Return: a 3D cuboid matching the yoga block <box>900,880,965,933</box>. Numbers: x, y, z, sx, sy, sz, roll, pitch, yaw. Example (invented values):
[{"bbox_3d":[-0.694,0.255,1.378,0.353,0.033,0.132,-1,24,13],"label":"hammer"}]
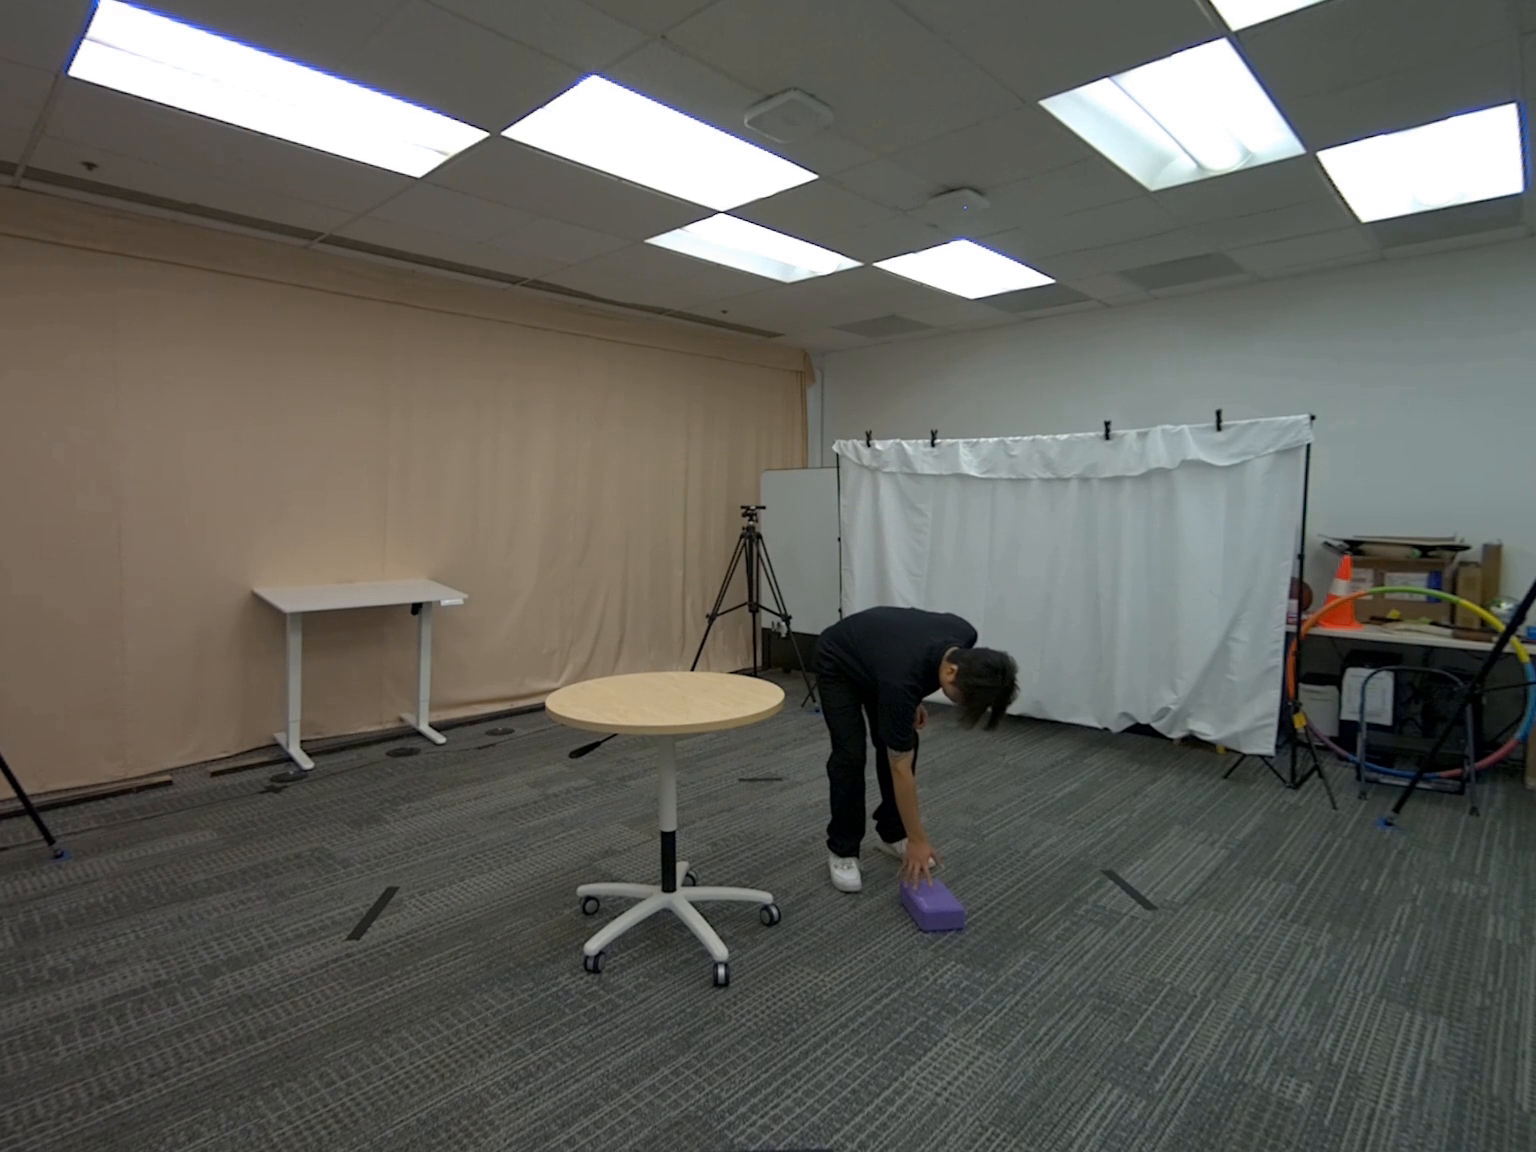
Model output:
[{"bbox_3d":[0.555,1.107,2.857,0.148,0.076,0.232,-3,5,-9],"label":"yoga block"}]
